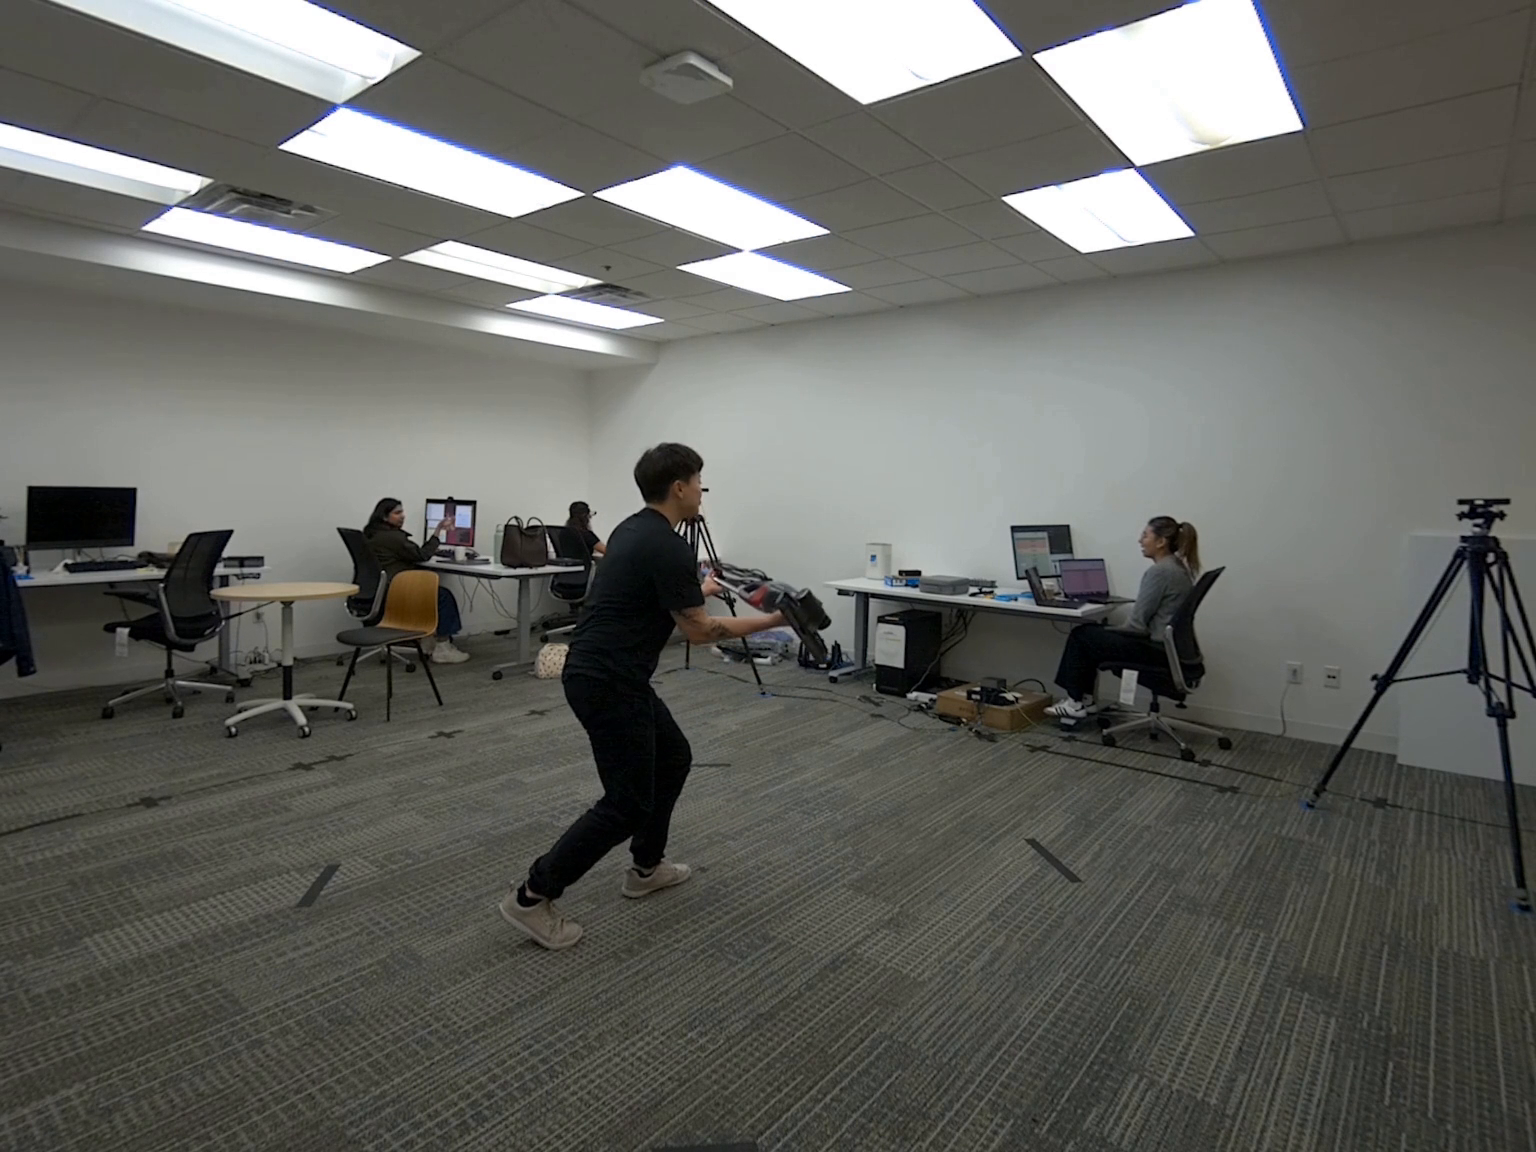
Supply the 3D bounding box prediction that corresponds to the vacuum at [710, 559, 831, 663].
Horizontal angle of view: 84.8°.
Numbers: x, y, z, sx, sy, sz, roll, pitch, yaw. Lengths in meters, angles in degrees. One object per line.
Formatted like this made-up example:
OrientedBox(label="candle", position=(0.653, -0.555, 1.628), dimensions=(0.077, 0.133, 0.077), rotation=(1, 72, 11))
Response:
OrientedBox(label="vacuum", position=(-0.072, 0.036, 3.057), dimensions=(0.144, 0.246, 1.079), rotation=(-39, 22, -9))
